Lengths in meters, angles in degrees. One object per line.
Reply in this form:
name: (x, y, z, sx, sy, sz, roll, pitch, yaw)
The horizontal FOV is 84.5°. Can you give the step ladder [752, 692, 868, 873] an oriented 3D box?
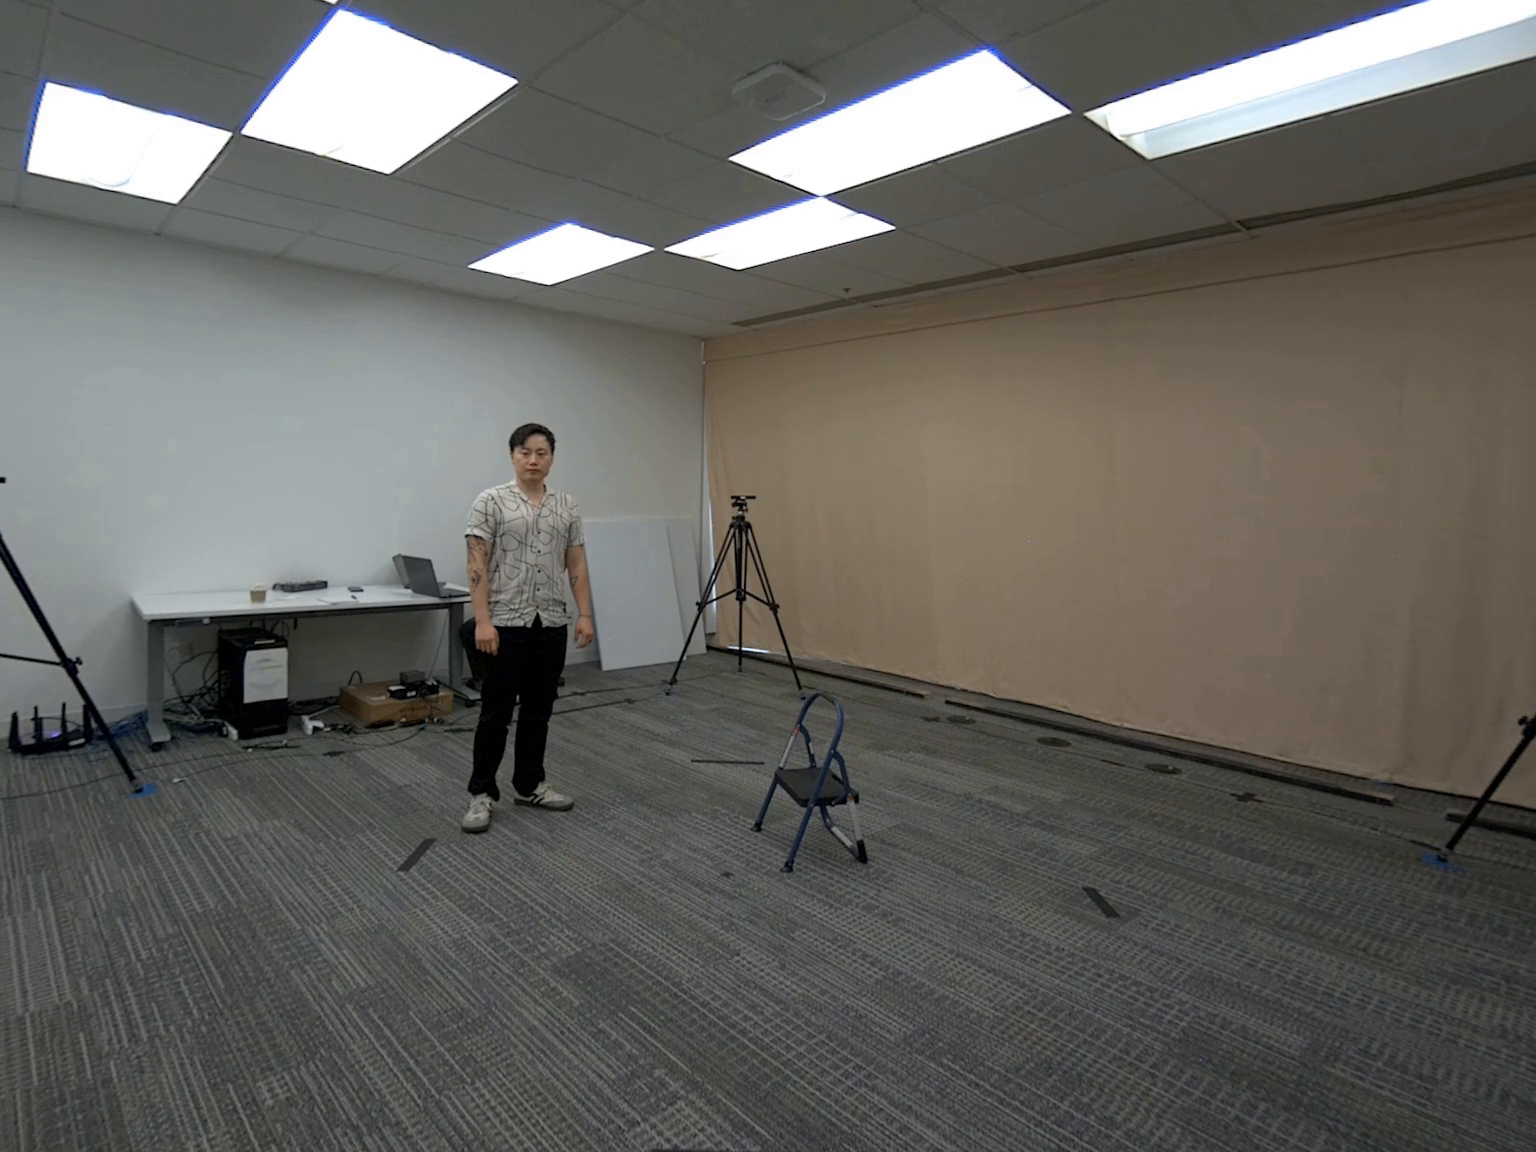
step ladder: (0.162, 0.784, 3.361, 0.345, 0.605, 0.437, 1, 4, -17)
